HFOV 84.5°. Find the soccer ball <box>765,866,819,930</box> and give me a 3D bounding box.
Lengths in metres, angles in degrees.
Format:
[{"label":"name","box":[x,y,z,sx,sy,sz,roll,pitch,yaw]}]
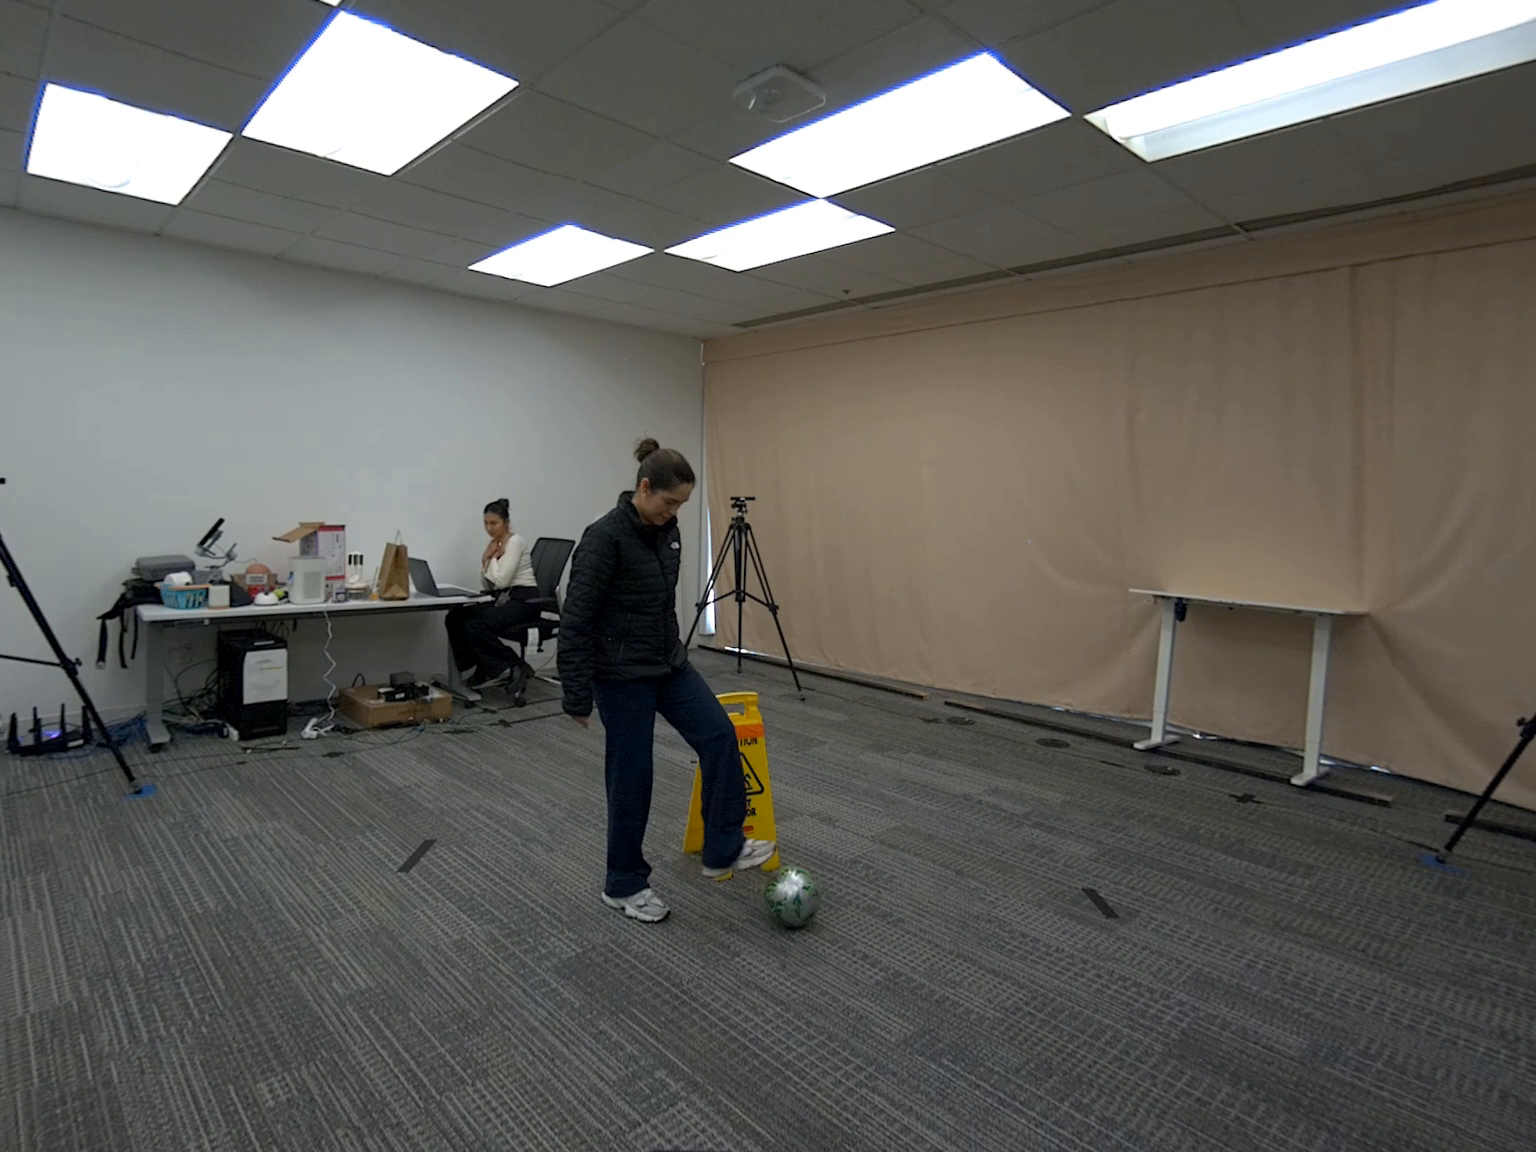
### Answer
[{"label":"soccer ball","box":[0.068,1.048,2.752,0.187,0.187,0.188,1,4,-1]}]
